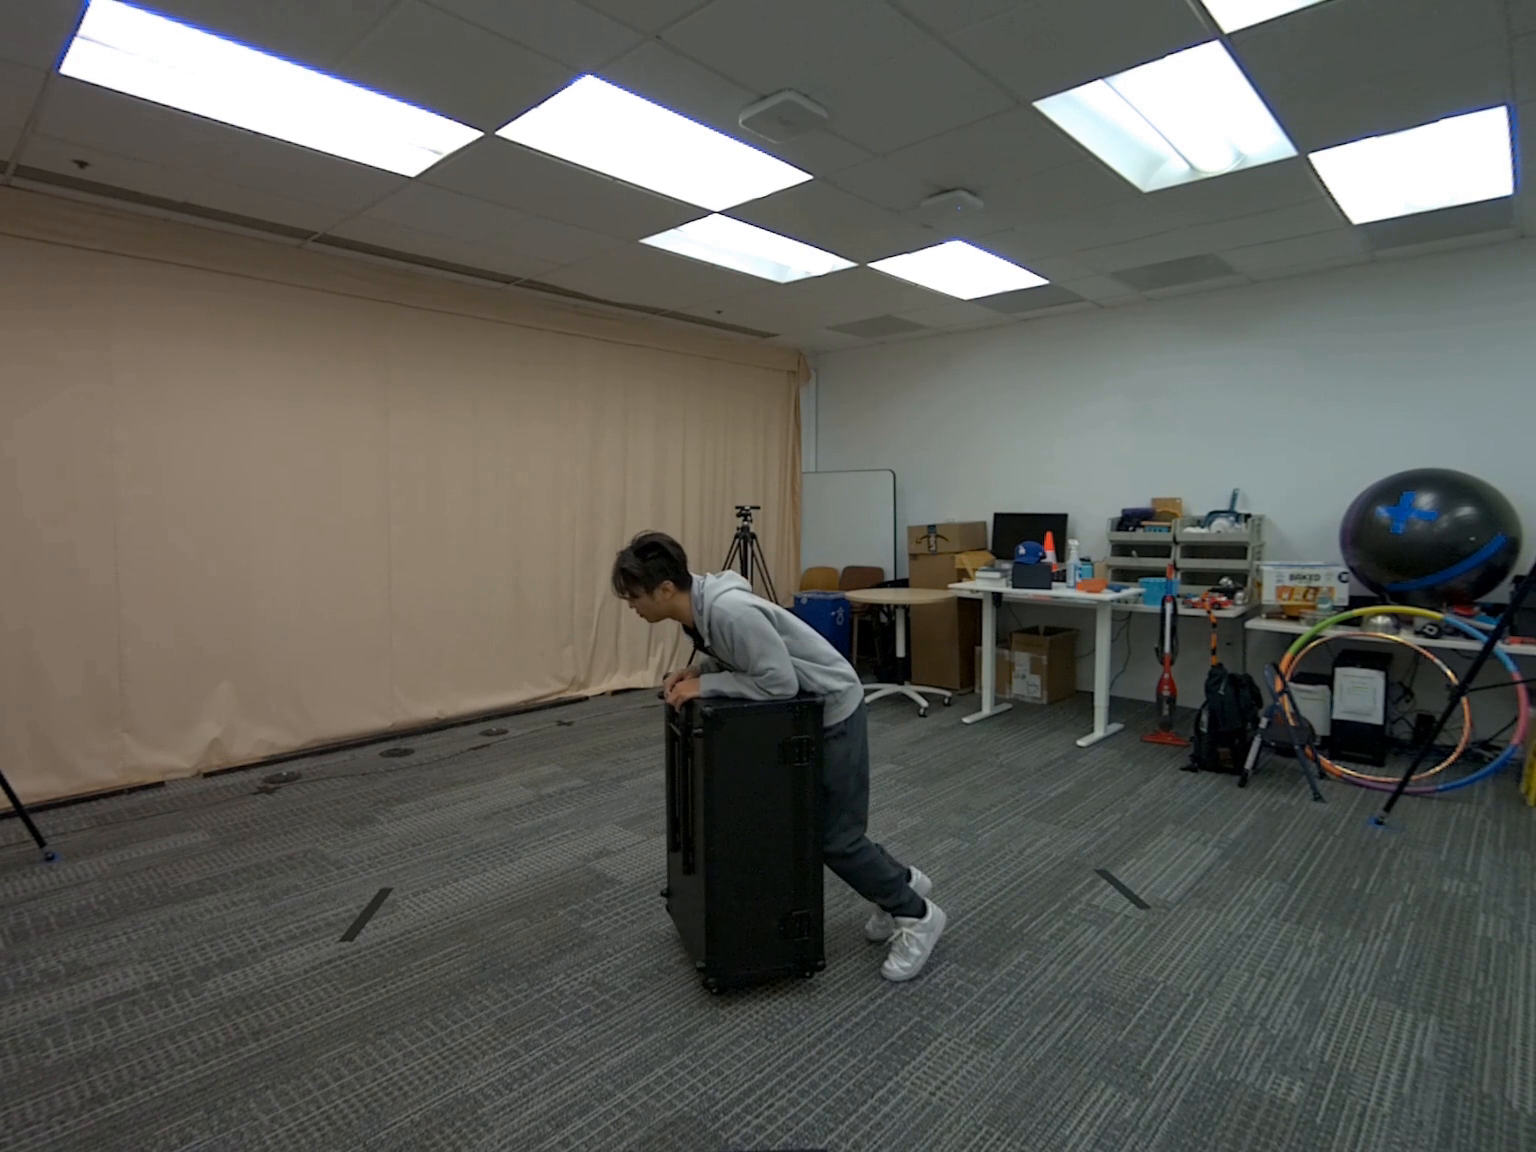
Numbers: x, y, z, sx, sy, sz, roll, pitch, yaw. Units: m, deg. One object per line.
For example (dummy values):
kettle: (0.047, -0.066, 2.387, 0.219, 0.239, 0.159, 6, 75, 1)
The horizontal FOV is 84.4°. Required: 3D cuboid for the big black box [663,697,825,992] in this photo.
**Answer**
big black box: (-0.095, 0.765, 2.548, 0.389, 0.859, 0.532, -4, 4, -18)
